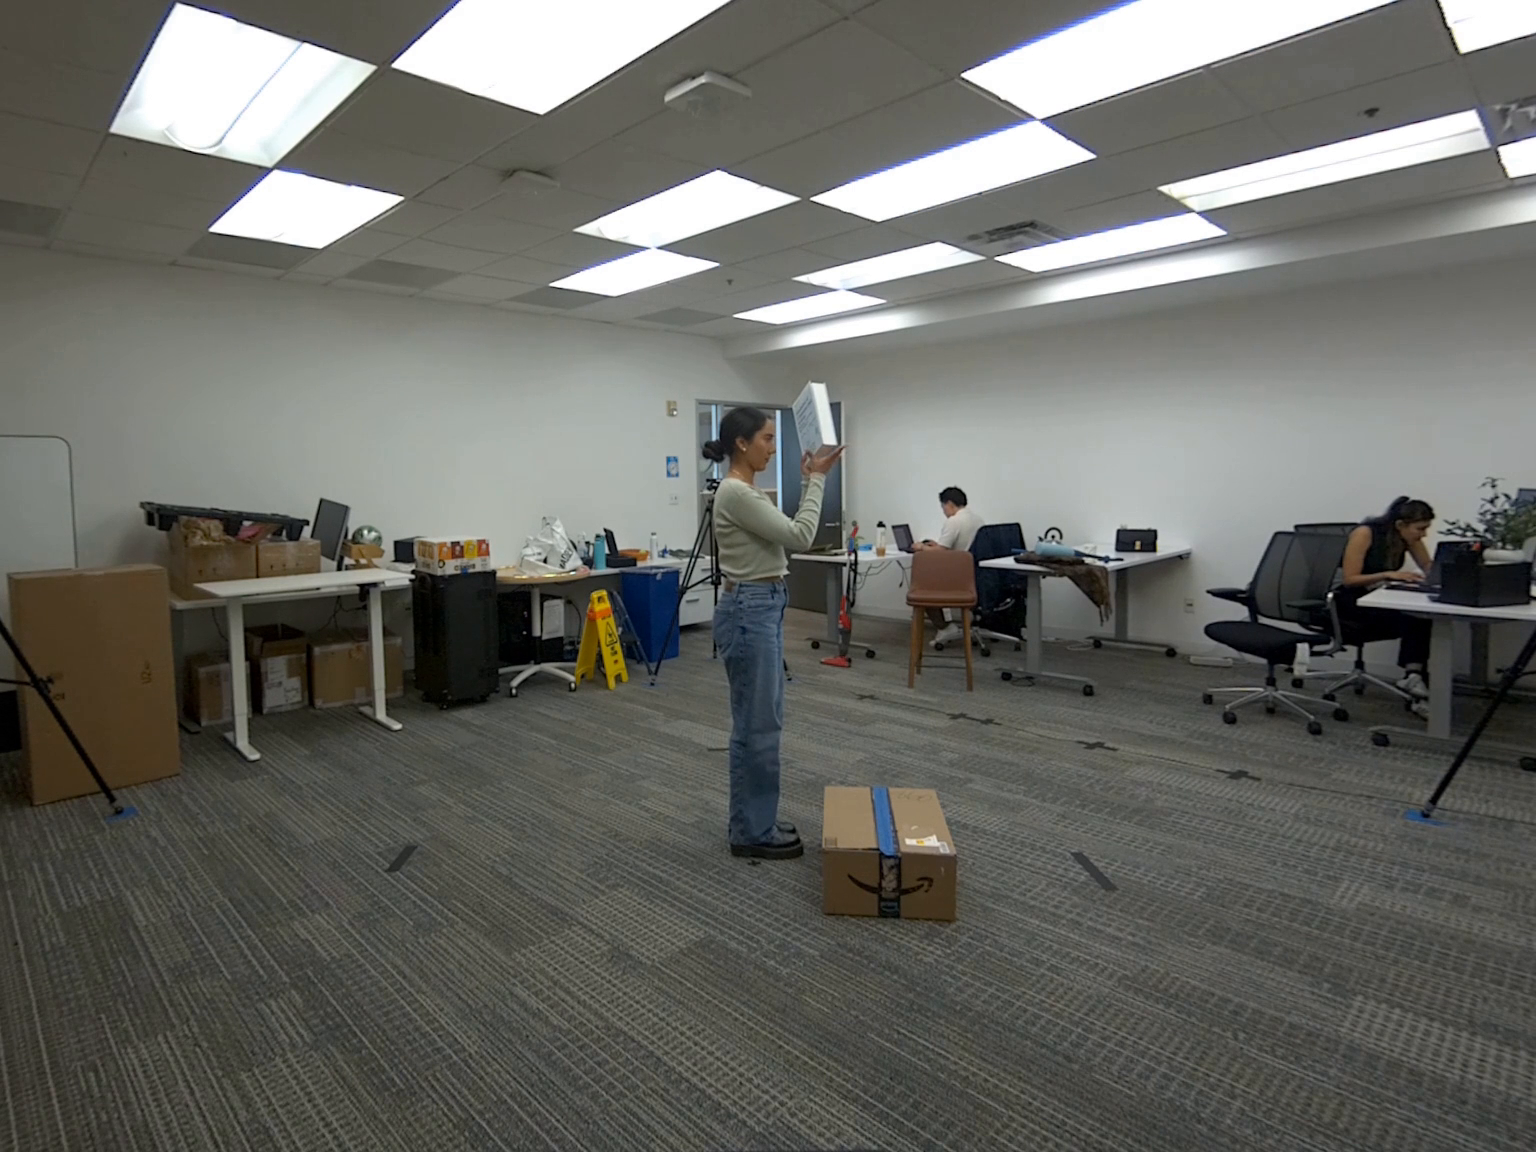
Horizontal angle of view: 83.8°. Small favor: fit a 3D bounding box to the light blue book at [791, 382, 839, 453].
[{"bbox_3d":[0.176,-0.563,3.185,0.058,0.266,0.191,0,-21,-21],"label":"light blue book"}]
